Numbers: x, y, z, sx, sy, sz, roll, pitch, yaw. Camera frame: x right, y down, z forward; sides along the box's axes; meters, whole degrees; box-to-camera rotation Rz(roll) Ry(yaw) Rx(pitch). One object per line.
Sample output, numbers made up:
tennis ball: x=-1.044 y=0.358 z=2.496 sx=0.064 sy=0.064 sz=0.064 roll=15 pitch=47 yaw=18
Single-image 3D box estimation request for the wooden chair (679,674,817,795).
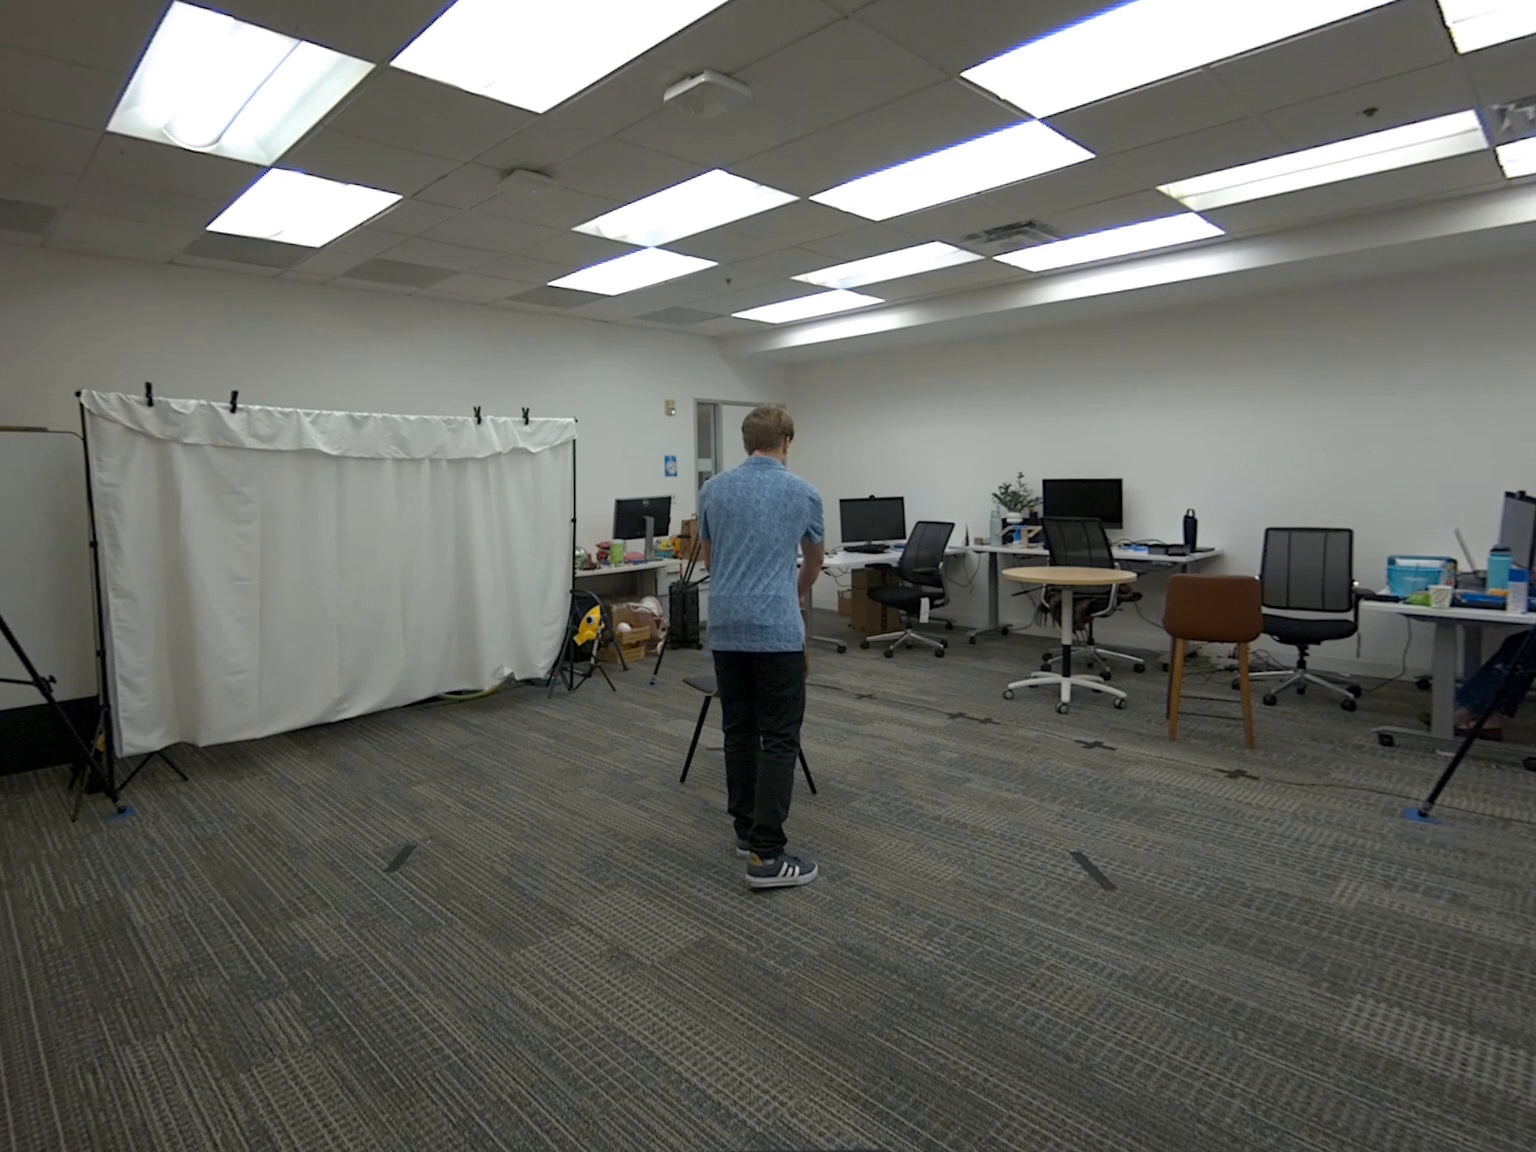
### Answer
wooden chair: x=-0.099 y=0.532 z=3.838 sx=0.466 sy=0.871 sz=0.539 roll=-3 pitch=9 yaw=-32
